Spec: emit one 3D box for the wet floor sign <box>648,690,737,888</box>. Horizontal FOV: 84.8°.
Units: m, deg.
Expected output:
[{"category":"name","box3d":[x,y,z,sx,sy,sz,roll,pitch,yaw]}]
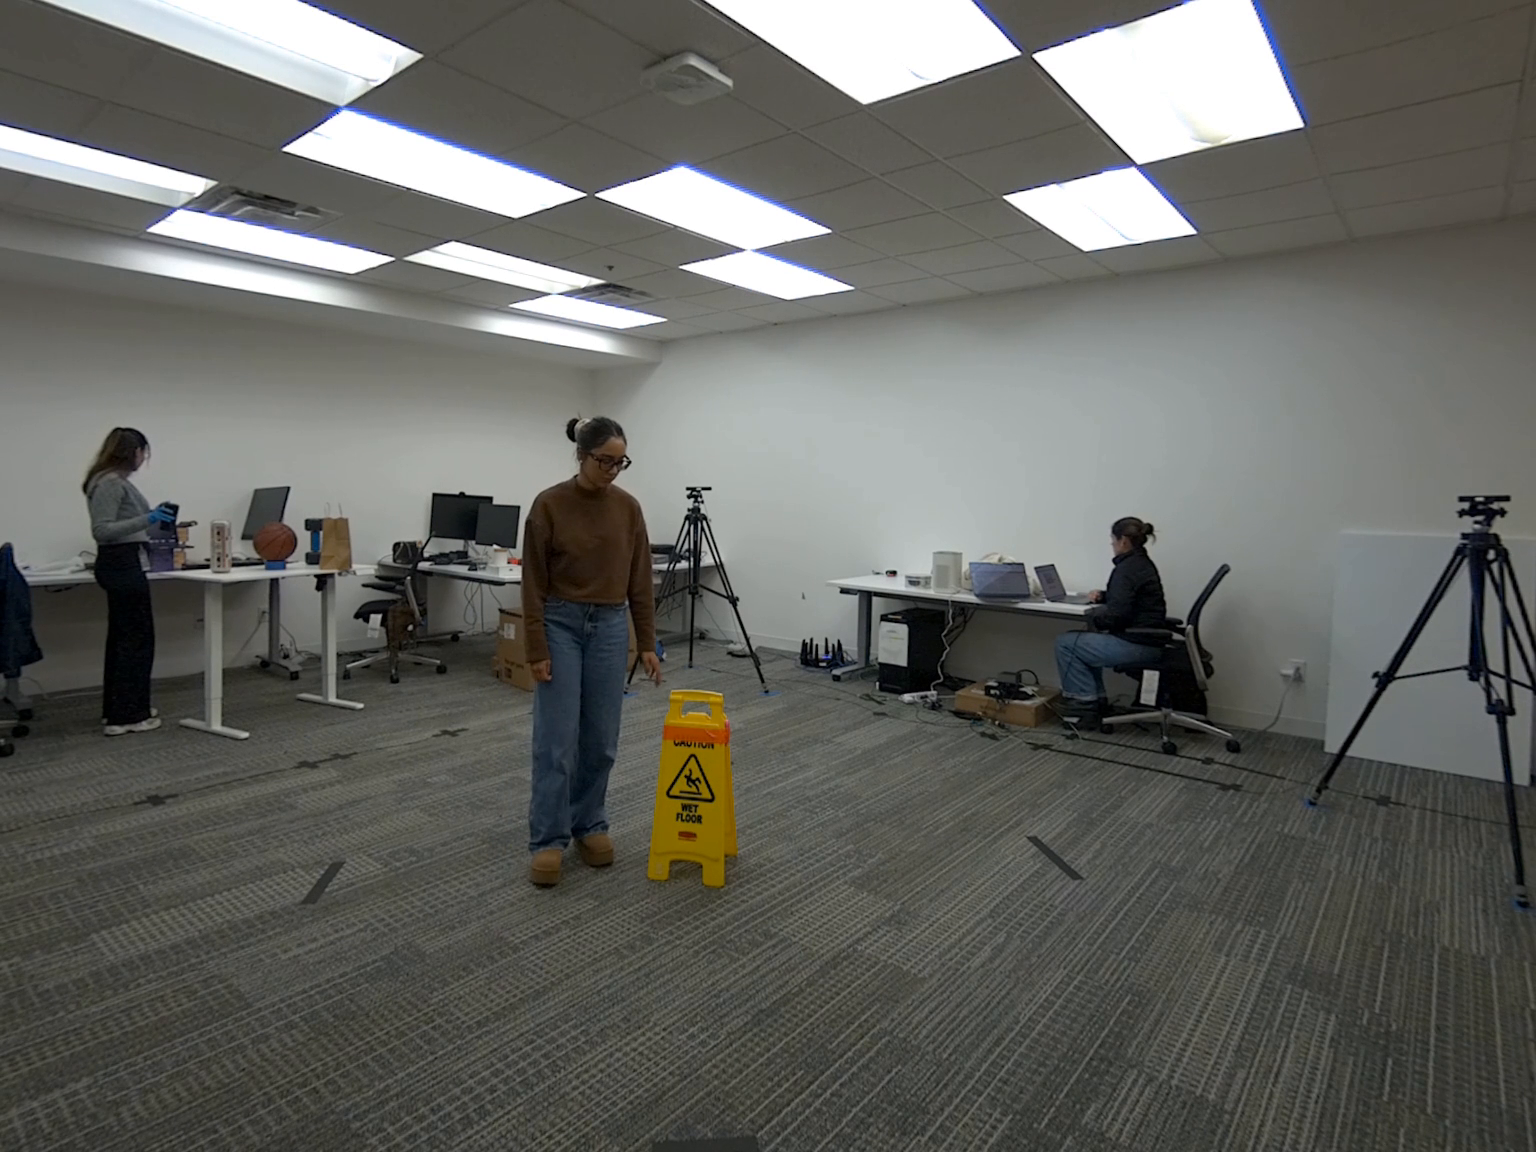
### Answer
[{"category":"wet floor sign","box3d":[-0.275,0.745,3.096,0.285,0.644,0.287,1,3,9]}]
